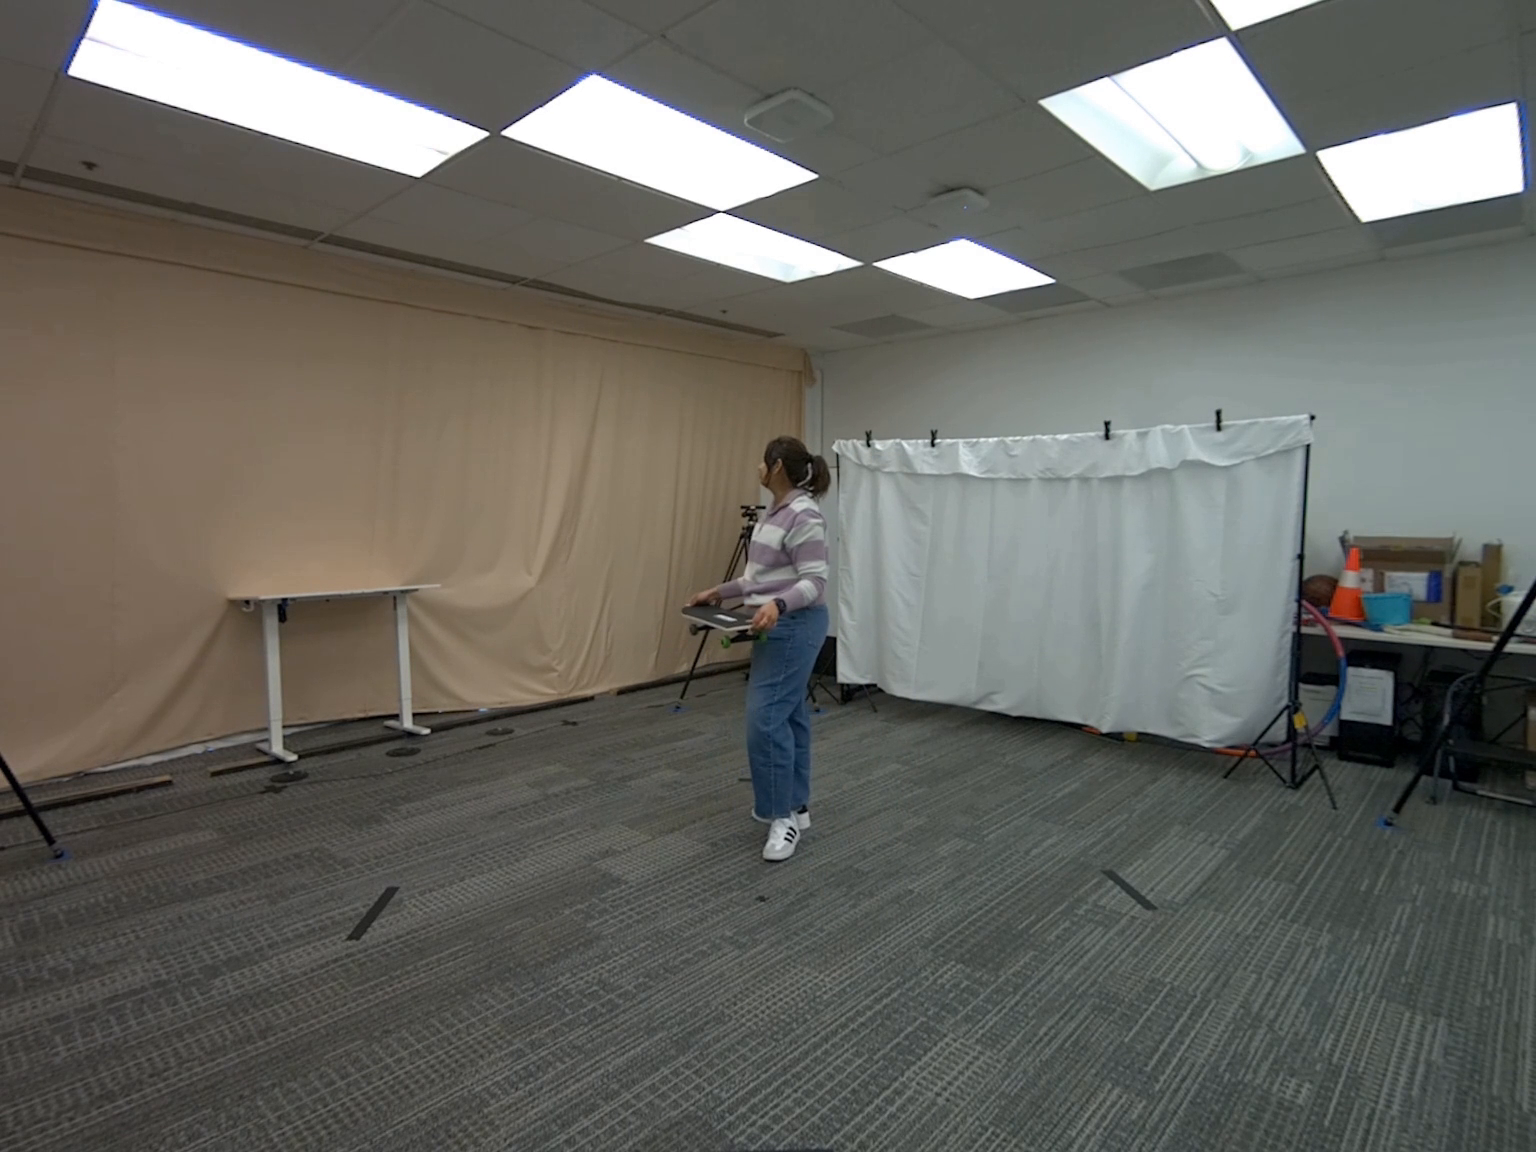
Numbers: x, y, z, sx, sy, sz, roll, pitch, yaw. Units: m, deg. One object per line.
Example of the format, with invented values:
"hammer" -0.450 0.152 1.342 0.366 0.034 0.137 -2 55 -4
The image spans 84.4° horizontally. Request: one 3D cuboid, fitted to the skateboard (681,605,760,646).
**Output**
"skateboard" -0.183 0.210 3.503 0.190 0.110 0.802 -8 6 -20
